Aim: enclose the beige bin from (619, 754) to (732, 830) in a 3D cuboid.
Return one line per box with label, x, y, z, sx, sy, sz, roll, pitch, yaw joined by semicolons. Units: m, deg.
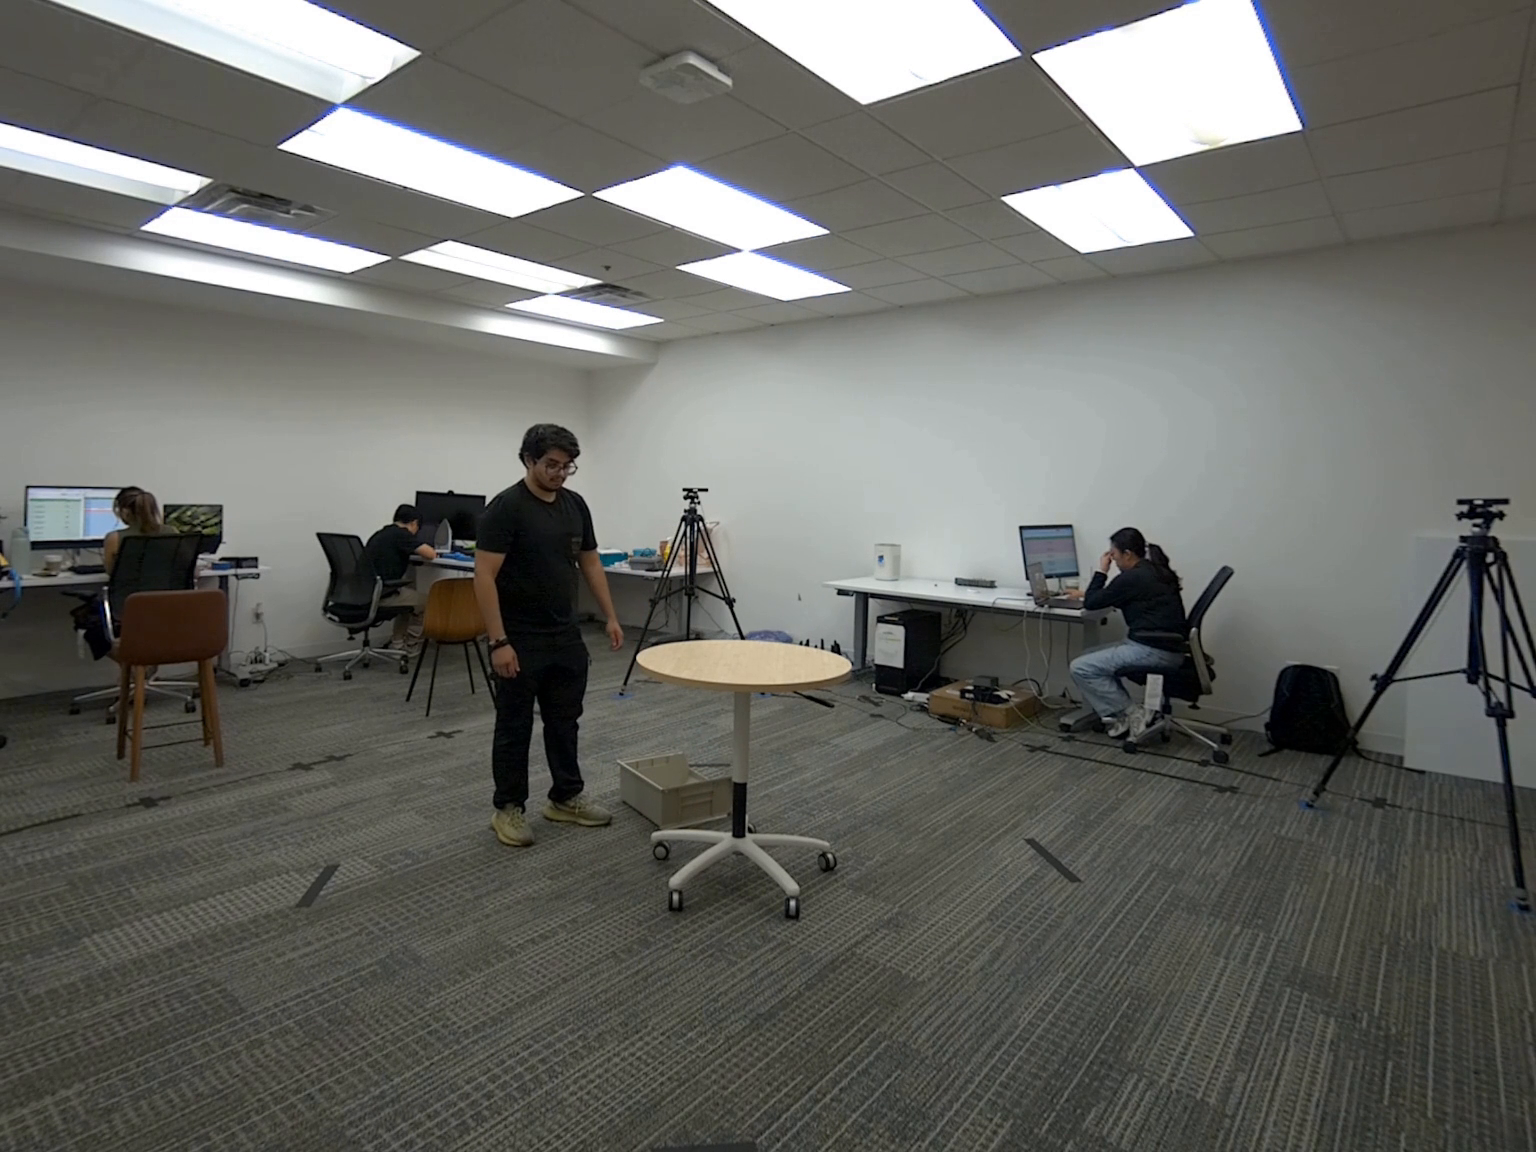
beige bin;-0.414;0.920;3.708;0.367;0.188;0.436;-4;7;-34
